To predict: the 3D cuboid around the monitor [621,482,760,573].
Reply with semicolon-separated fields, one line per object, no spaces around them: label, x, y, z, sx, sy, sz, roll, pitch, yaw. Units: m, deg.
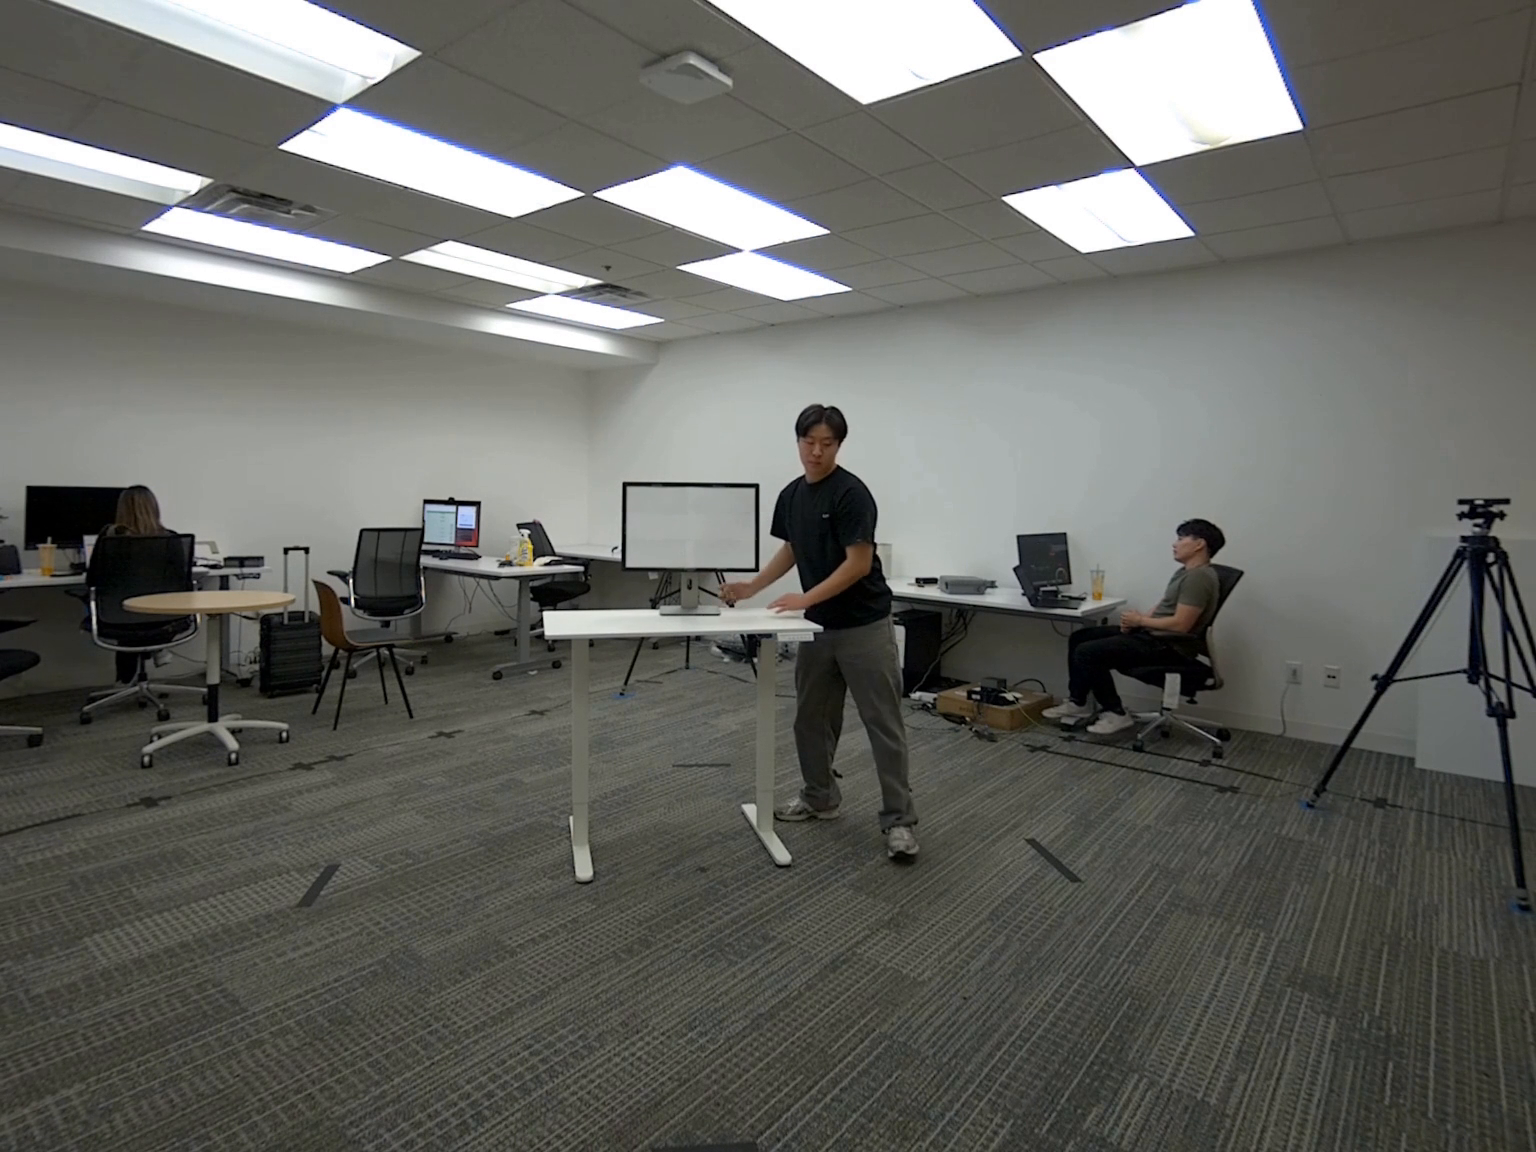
monitor;-0.328;-0.107;3.497;0.561;0.560;0.225;0;10;-2
